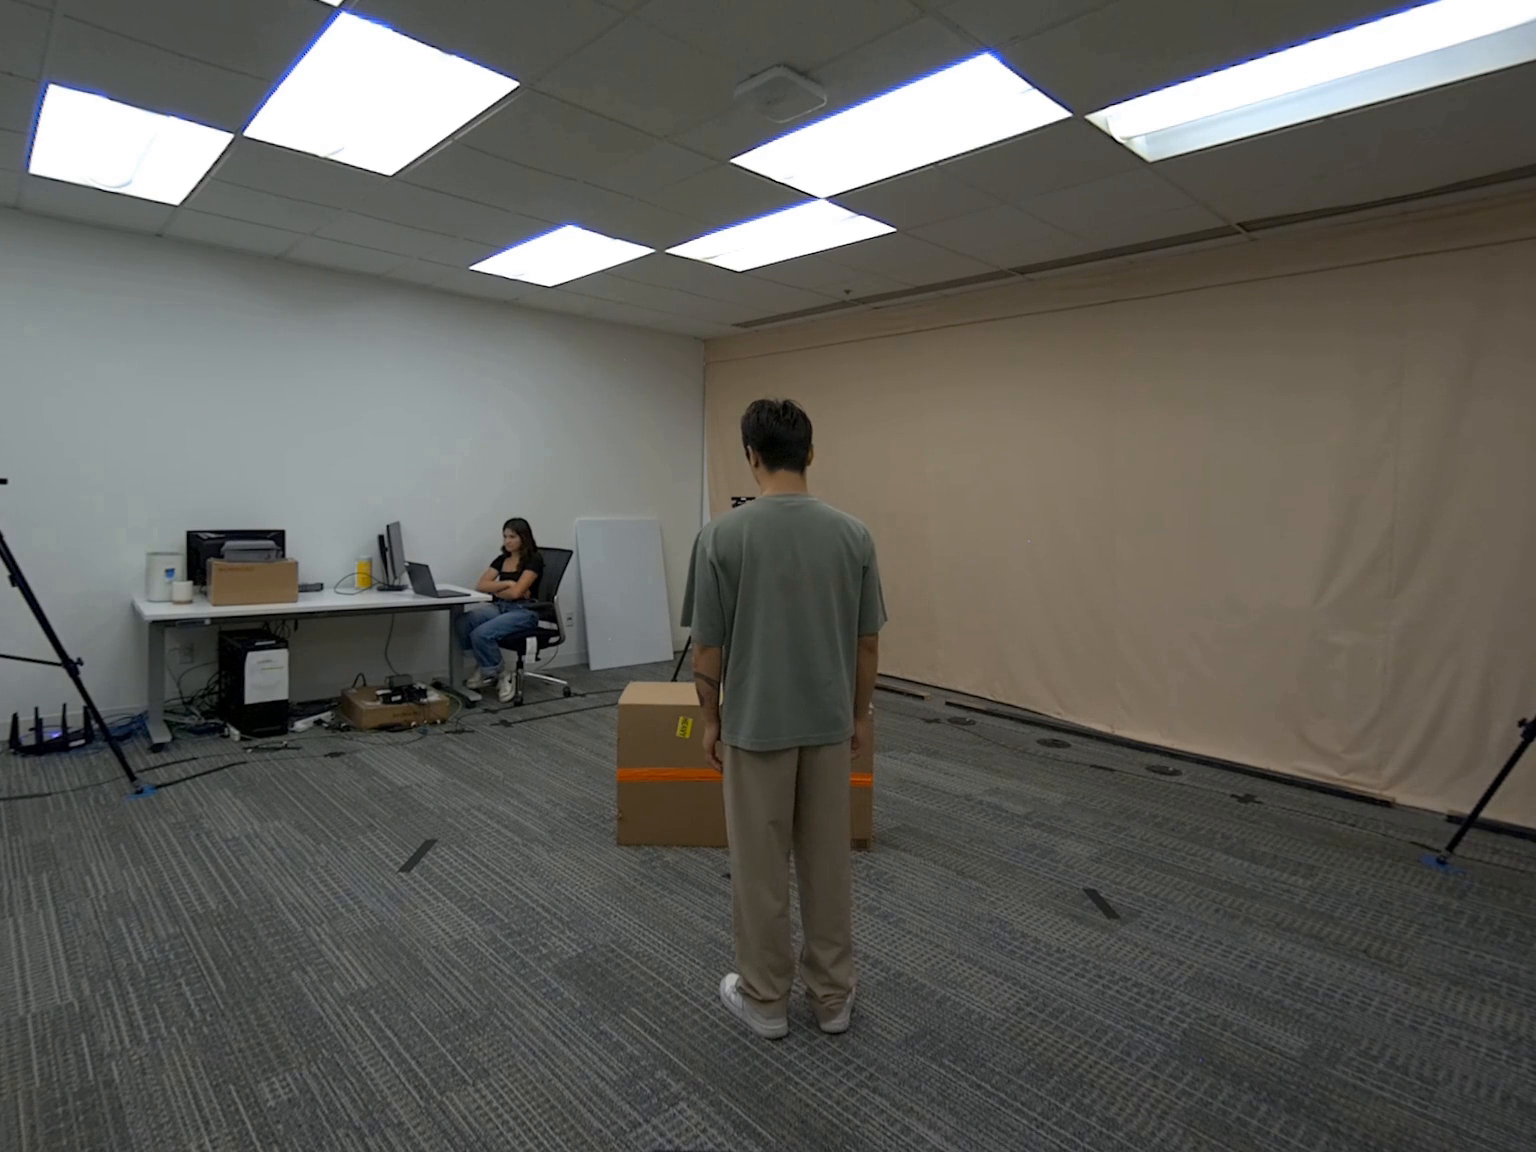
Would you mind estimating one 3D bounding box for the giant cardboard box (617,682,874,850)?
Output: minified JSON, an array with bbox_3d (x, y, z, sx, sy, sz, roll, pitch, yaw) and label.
[{"bbox_3d":[-0.107,0.779,3.546,1.025,0.576,0.427,1,3,0],"label":"giant cardboard box"}]
